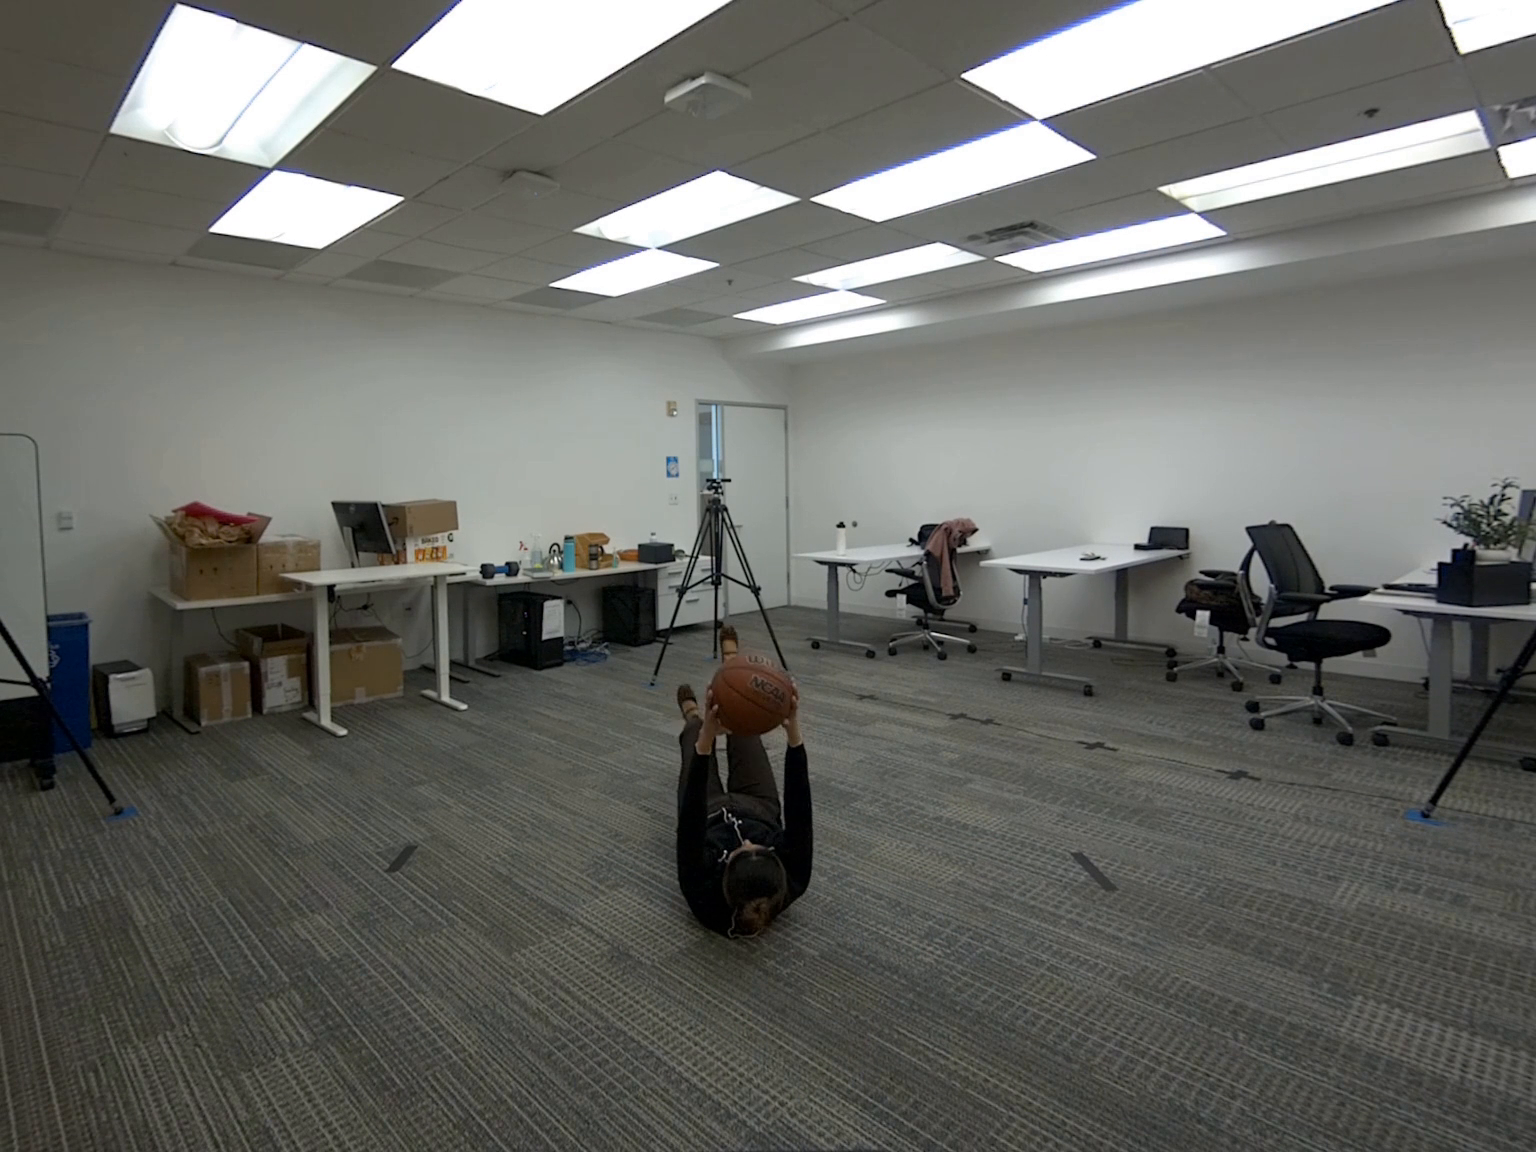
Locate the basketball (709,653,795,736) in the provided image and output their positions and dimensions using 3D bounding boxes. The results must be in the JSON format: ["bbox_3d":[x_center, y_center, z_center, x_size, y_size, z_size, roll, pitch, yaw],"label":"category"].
[{"bbox_3d":[-0.040,0.344,2.432,0.236,0.235,0.237,-1,5,-2],"label":"basketball"}]
